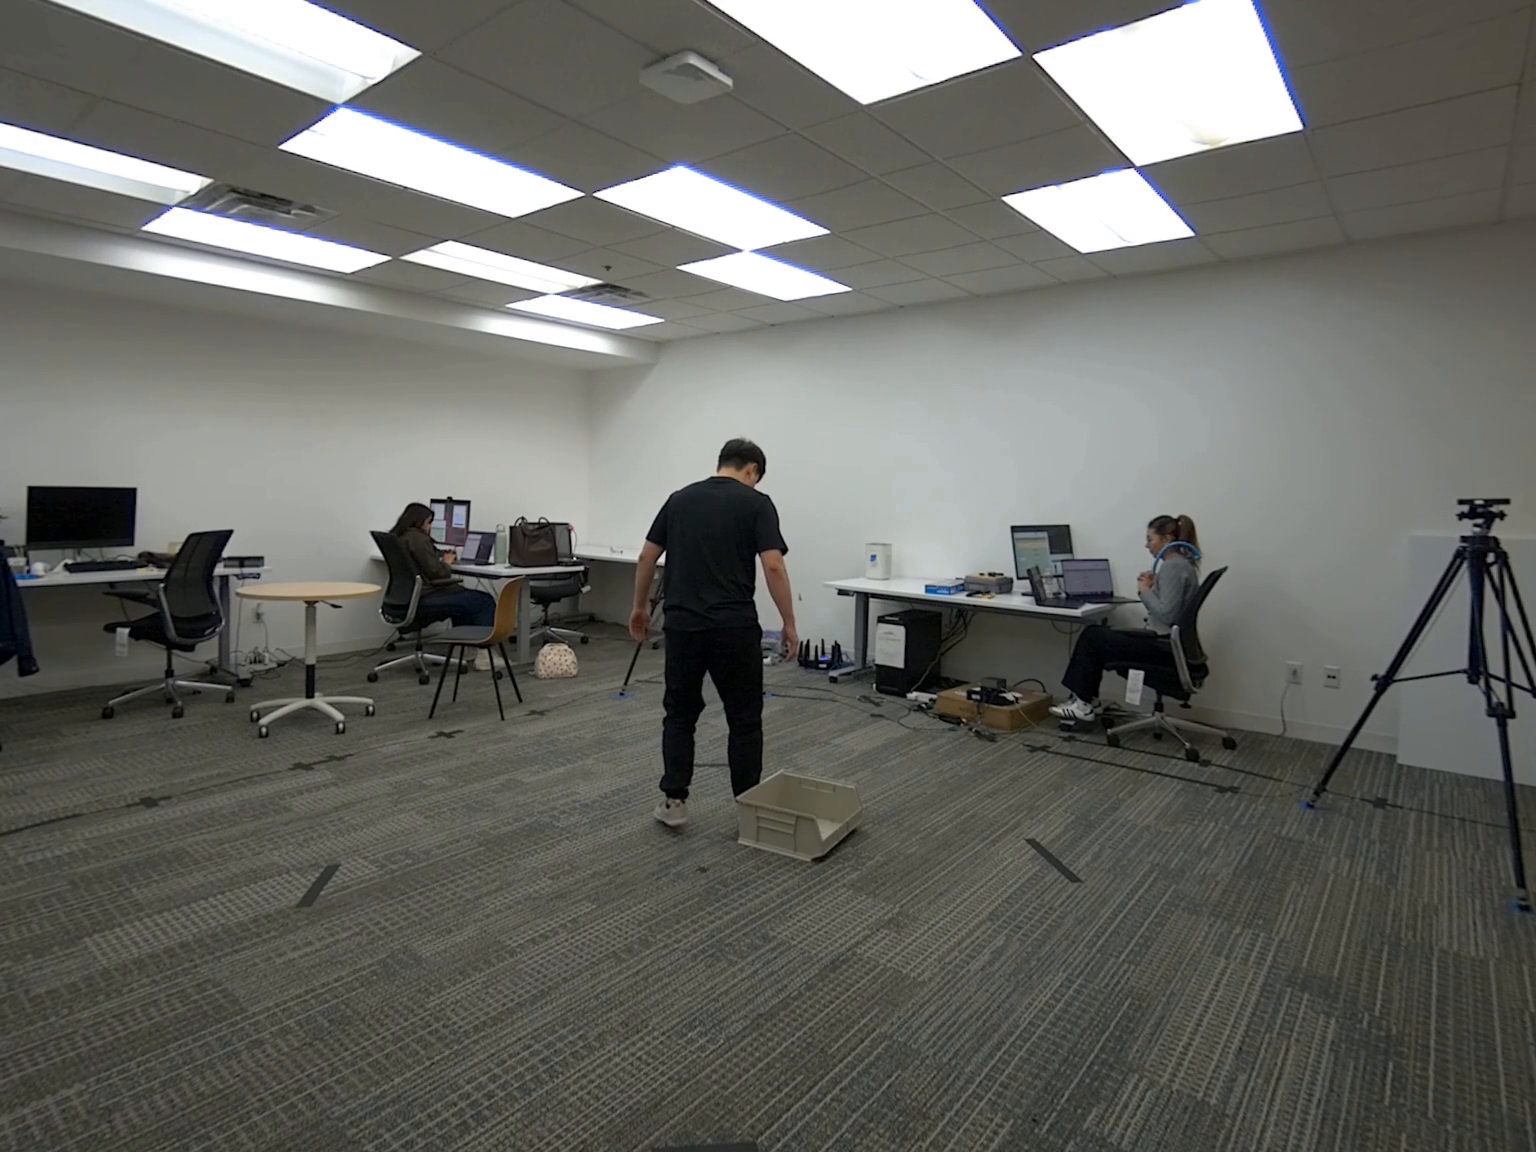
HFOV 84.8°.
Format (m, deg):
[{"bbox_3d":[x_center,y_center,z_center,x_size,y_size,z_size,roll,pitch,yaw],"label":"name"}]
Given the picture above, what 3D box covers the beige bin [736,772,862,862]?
[{"bbox_3d":[0.125,0.957,3.428,0.388,0.188,0.412,3,6,28],"label":"beige bin"}]
